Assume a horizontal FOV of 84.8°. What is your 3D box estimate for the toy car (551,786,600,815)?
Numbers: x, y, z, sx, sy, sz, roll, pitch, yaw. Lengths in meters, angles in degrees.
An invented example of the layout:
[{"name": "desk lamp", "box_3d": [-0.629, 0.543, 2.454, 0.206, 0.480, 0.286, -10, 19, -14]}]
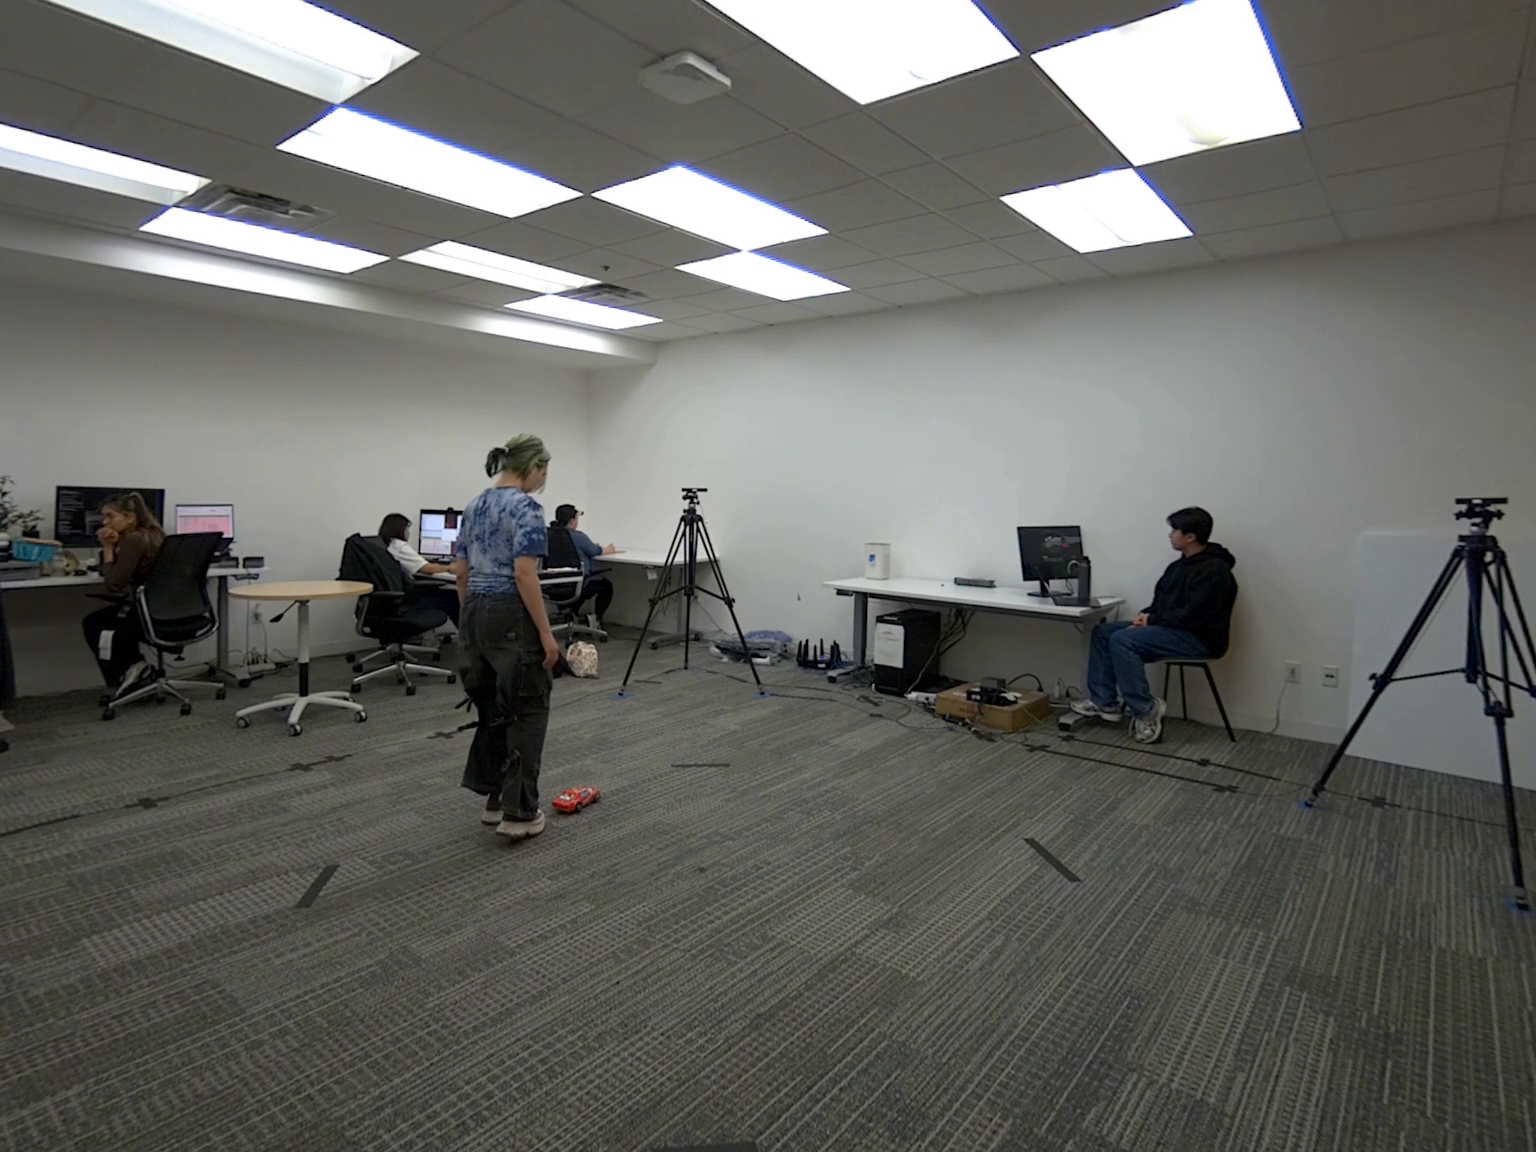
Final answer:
[{"name": "toy car", "box_3d": [-0.854, 0.974, 3.703, 0.134, 0.083, 0.247, 4, -5, 25]}]
